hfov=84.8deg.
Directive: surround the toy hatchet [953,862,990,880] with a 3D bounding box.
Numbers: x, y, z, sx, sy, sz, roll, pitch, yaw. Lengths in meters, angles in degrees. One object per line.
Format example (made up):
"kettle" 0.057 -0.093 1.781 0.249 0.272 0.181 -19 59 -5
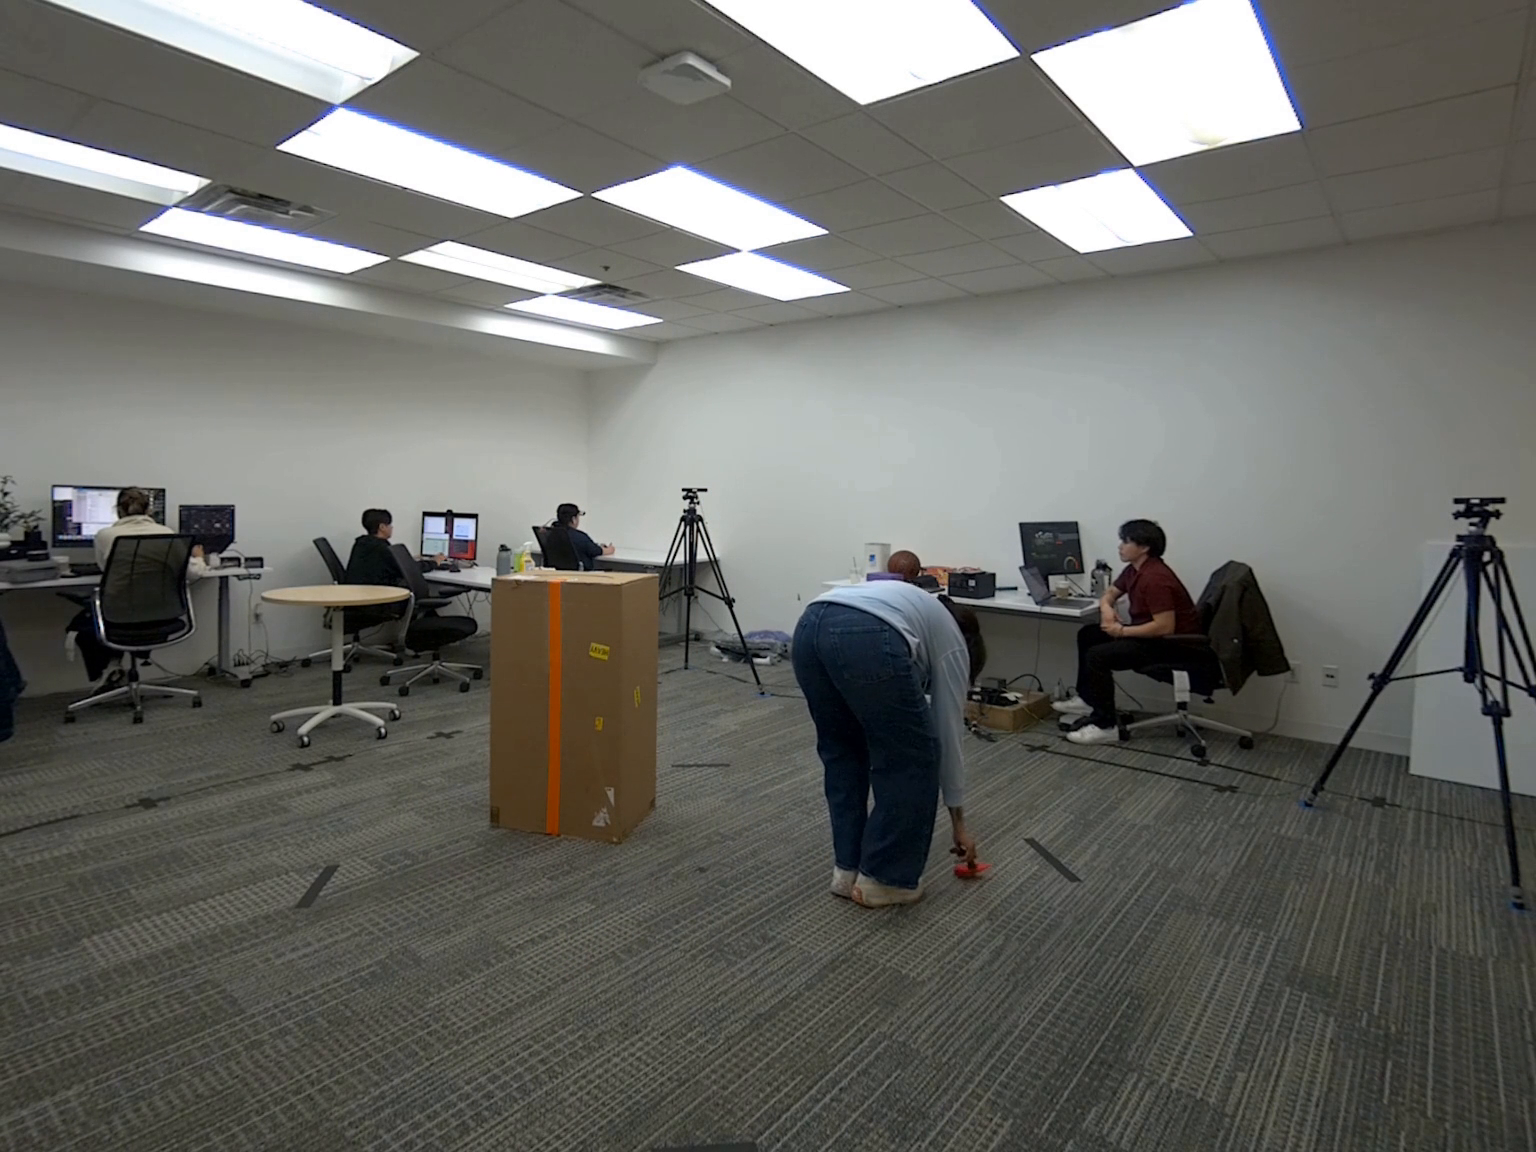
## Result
"toy hatchet" 0.681 1.026 3.035 0.133 0.030 0.259 -26 -36 30
